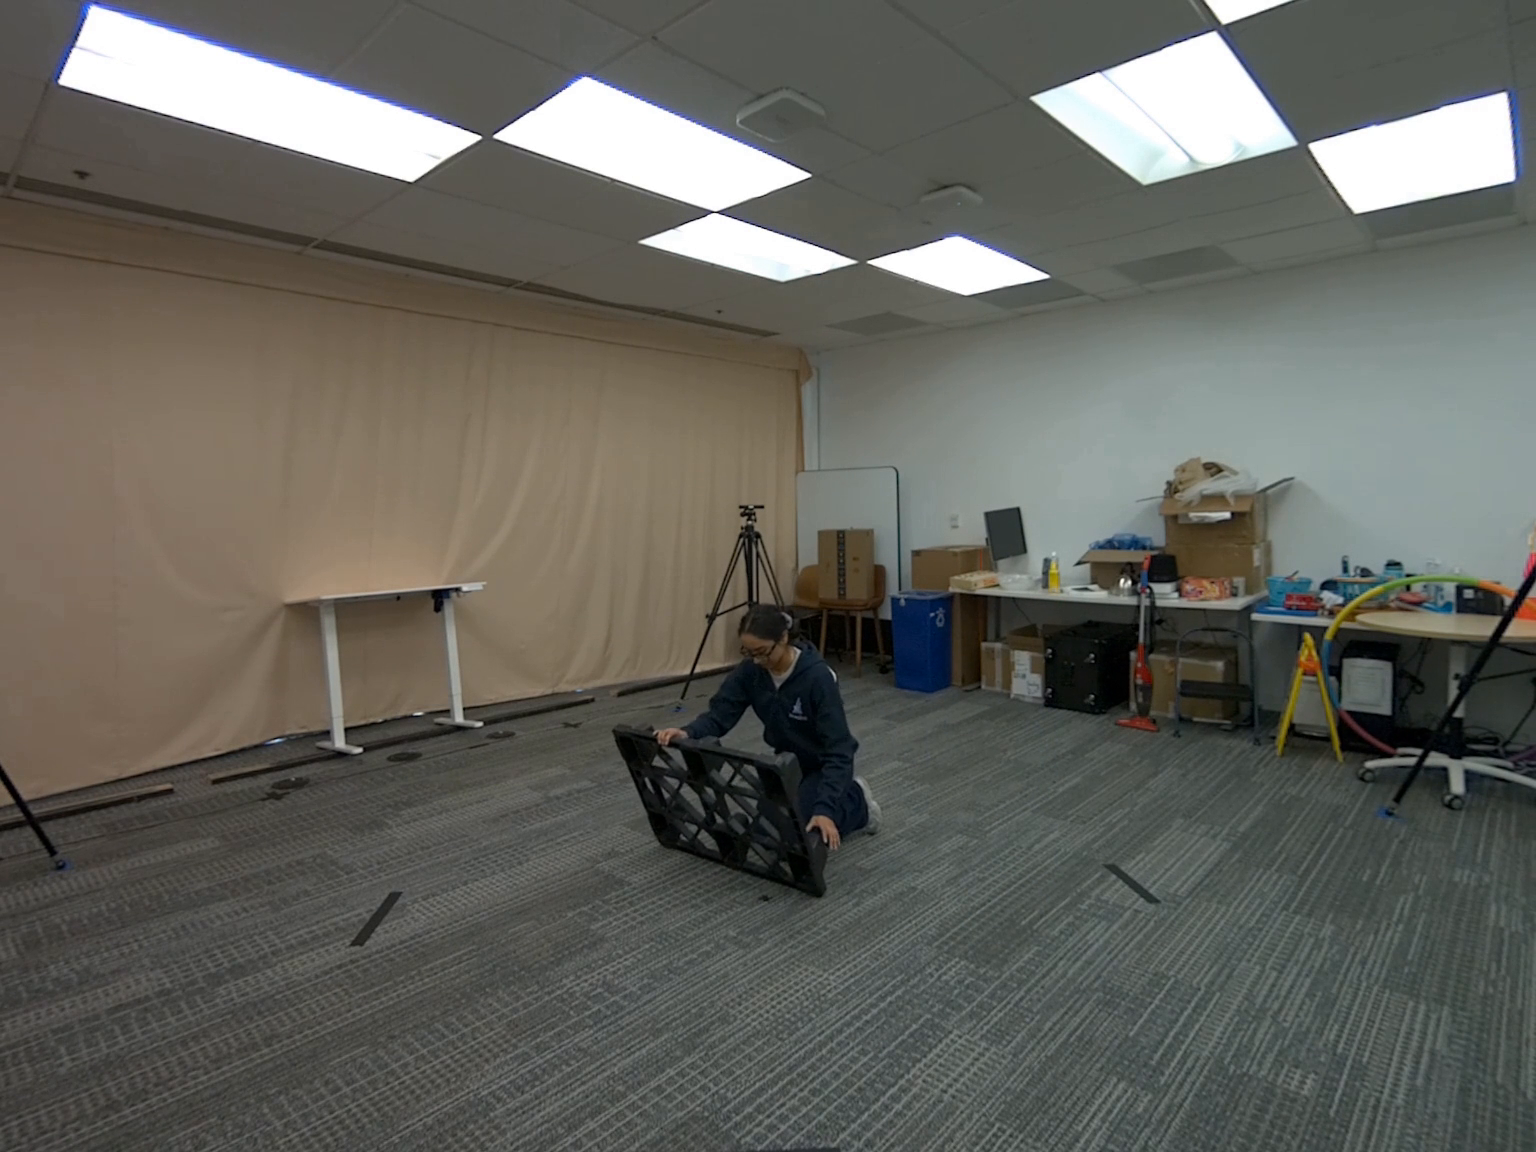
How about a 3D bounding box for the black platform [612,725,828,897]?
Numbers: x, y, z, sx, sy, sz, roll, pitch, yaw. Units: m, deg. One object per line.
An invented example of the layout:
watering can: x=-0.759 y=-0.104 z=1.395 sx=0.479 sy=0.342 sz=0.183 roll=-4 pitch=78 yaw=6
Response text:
black platform: x=-0.173 y=0.837 z=3.153 sx=0.832 sy=0.593 sz=0.141 roll=3 pitch=30 yaw=39
